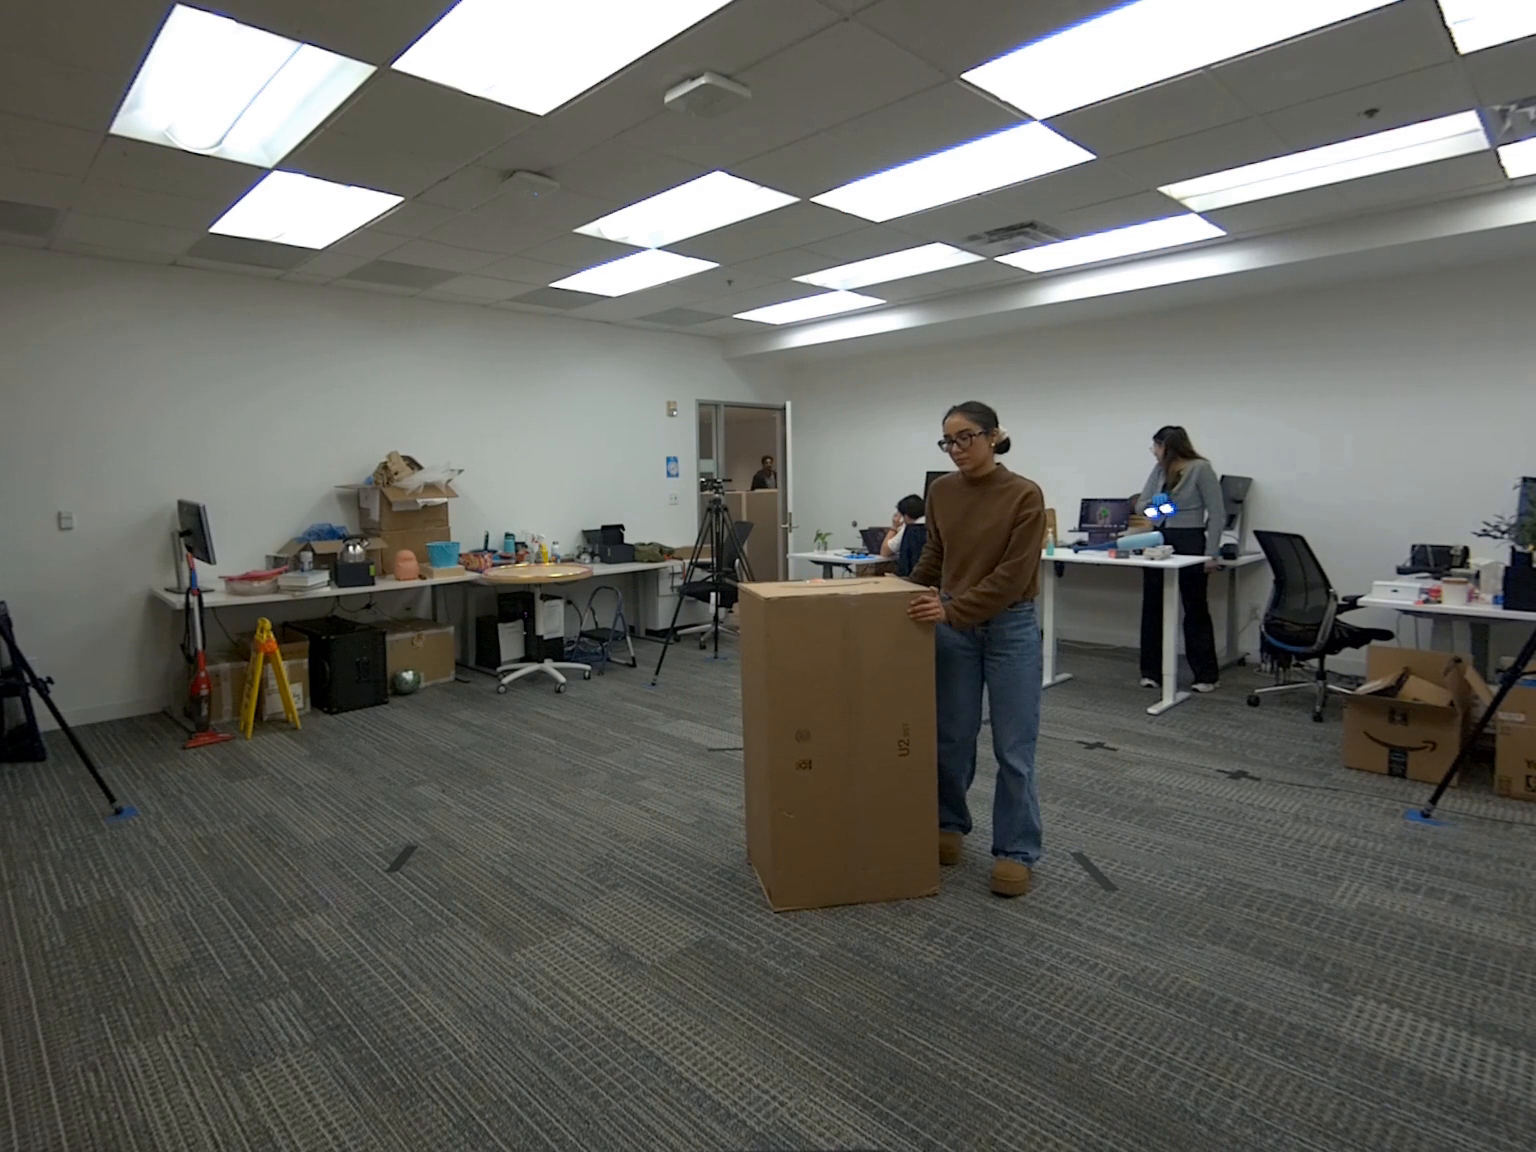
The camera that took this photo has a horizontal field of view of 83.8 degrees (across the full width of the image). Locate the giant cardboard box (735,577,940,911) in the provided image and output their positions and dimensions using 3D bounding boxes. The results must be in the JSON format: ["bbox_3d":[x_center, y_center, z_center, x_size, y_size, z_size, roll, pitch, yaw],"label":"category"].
[{"bbox_3d":[0.231,0.545,2.972,0.572,1.022,0.432,-2,4,-11],"label":"giant cardboard box"}]
